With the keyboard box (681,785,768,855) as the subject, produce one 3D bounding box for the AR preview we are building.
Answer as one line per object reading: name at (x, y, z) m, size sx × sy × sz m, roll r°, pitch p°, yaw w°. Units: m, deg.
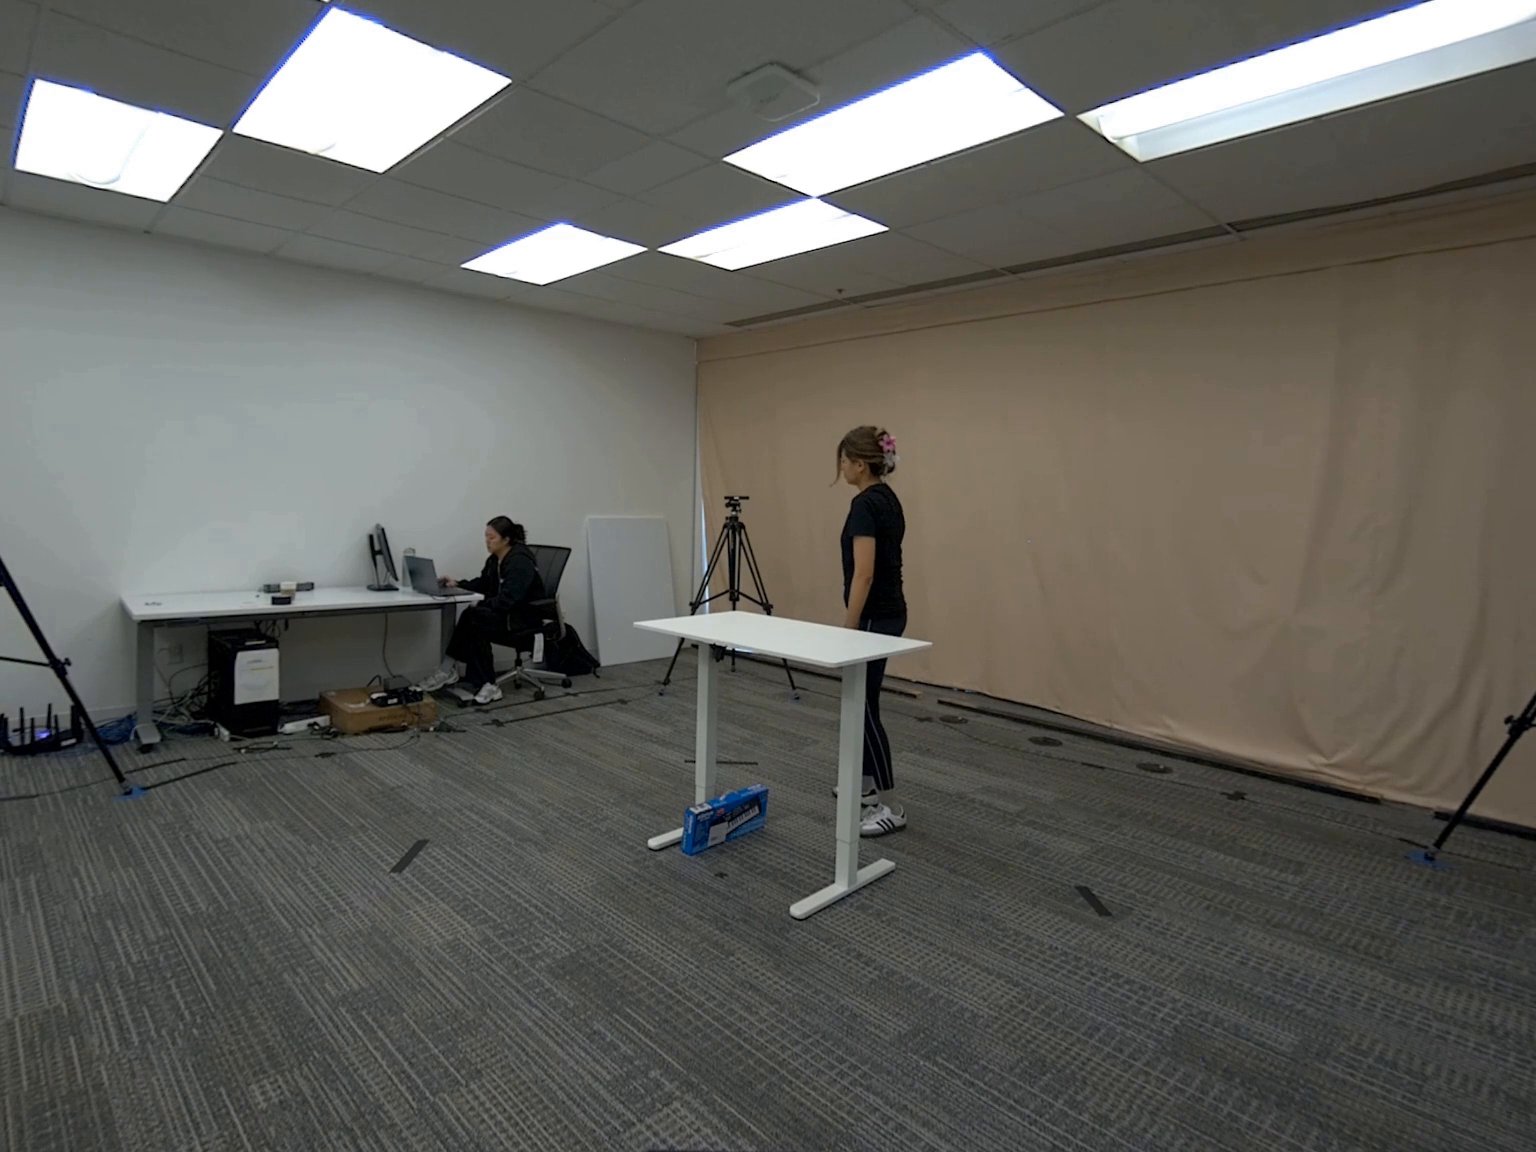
keyboard box at (-0.182, 0.987, 3.428) m, size 0.061 × 0.175 × 0.427 m, roll 15°, pitch 12°, yaw 40°
